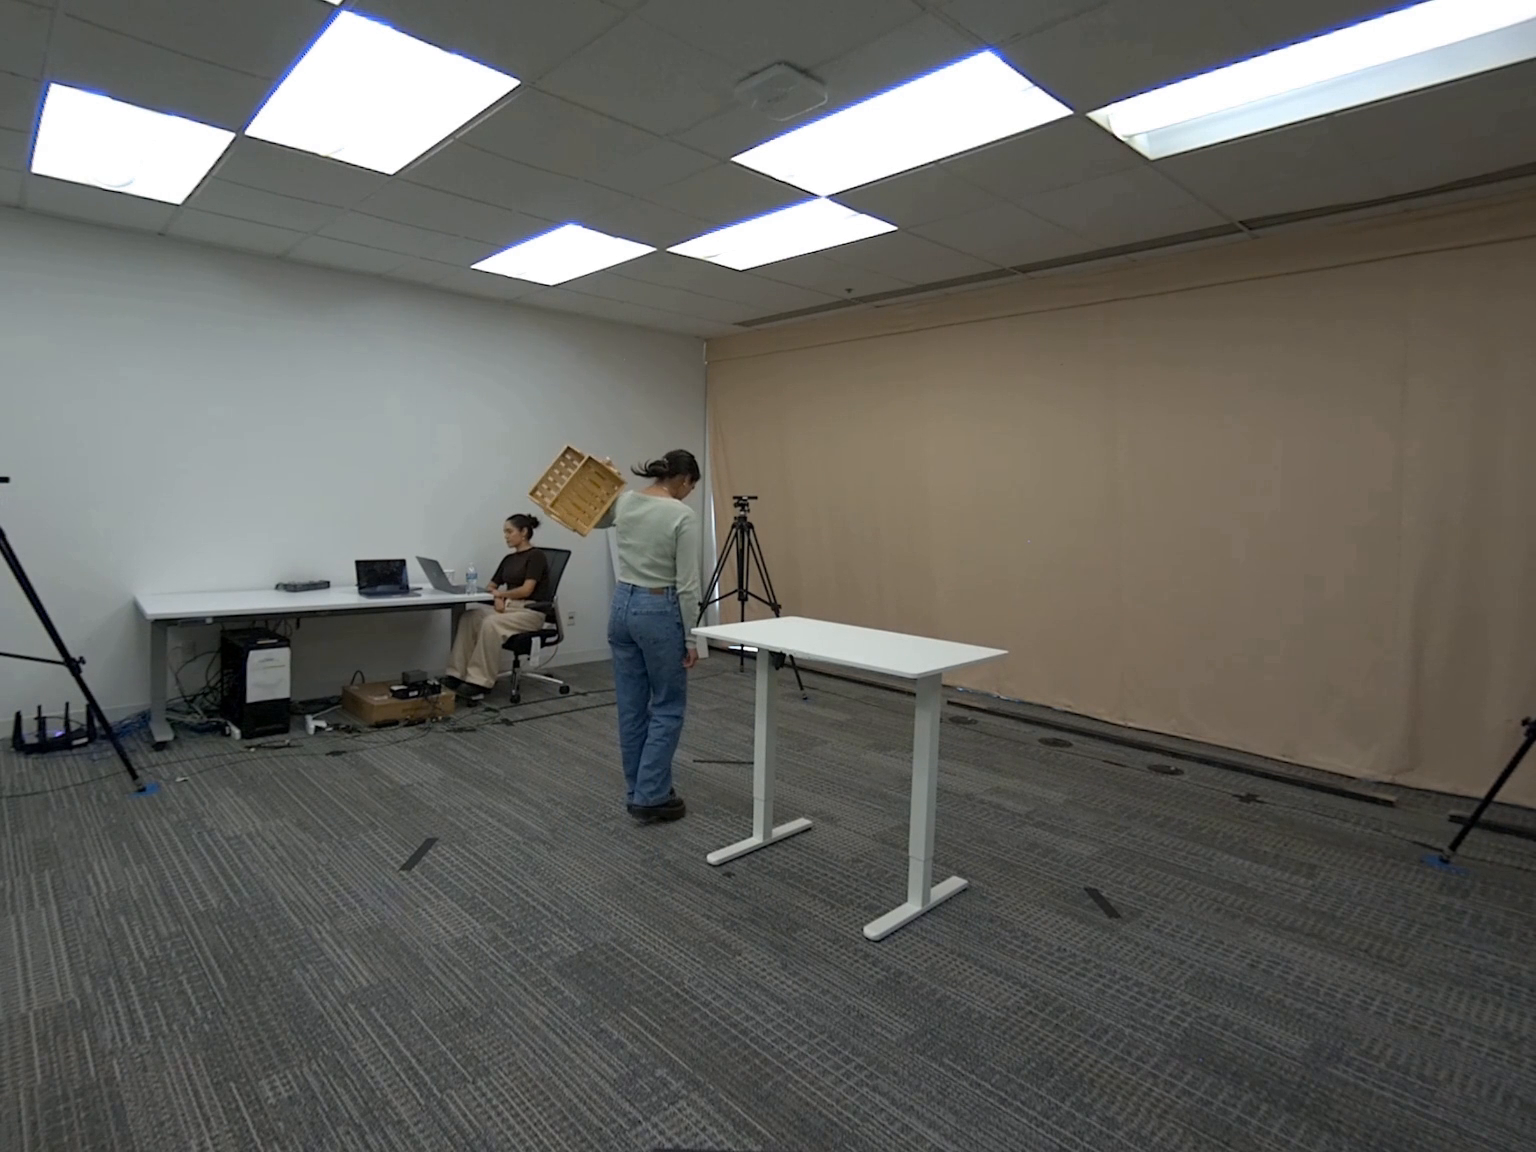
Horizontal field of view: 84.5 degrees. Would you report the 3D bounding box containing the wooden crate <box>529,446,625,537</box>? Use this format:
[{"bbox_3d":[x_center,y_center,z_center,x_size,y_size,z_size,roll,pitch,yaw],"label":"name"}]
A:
[{"bbox_3d":[-0.851,-0.382,3.720,0.297,0.325,0.278,39,-9,-17],"label":"wooden crate"}]
